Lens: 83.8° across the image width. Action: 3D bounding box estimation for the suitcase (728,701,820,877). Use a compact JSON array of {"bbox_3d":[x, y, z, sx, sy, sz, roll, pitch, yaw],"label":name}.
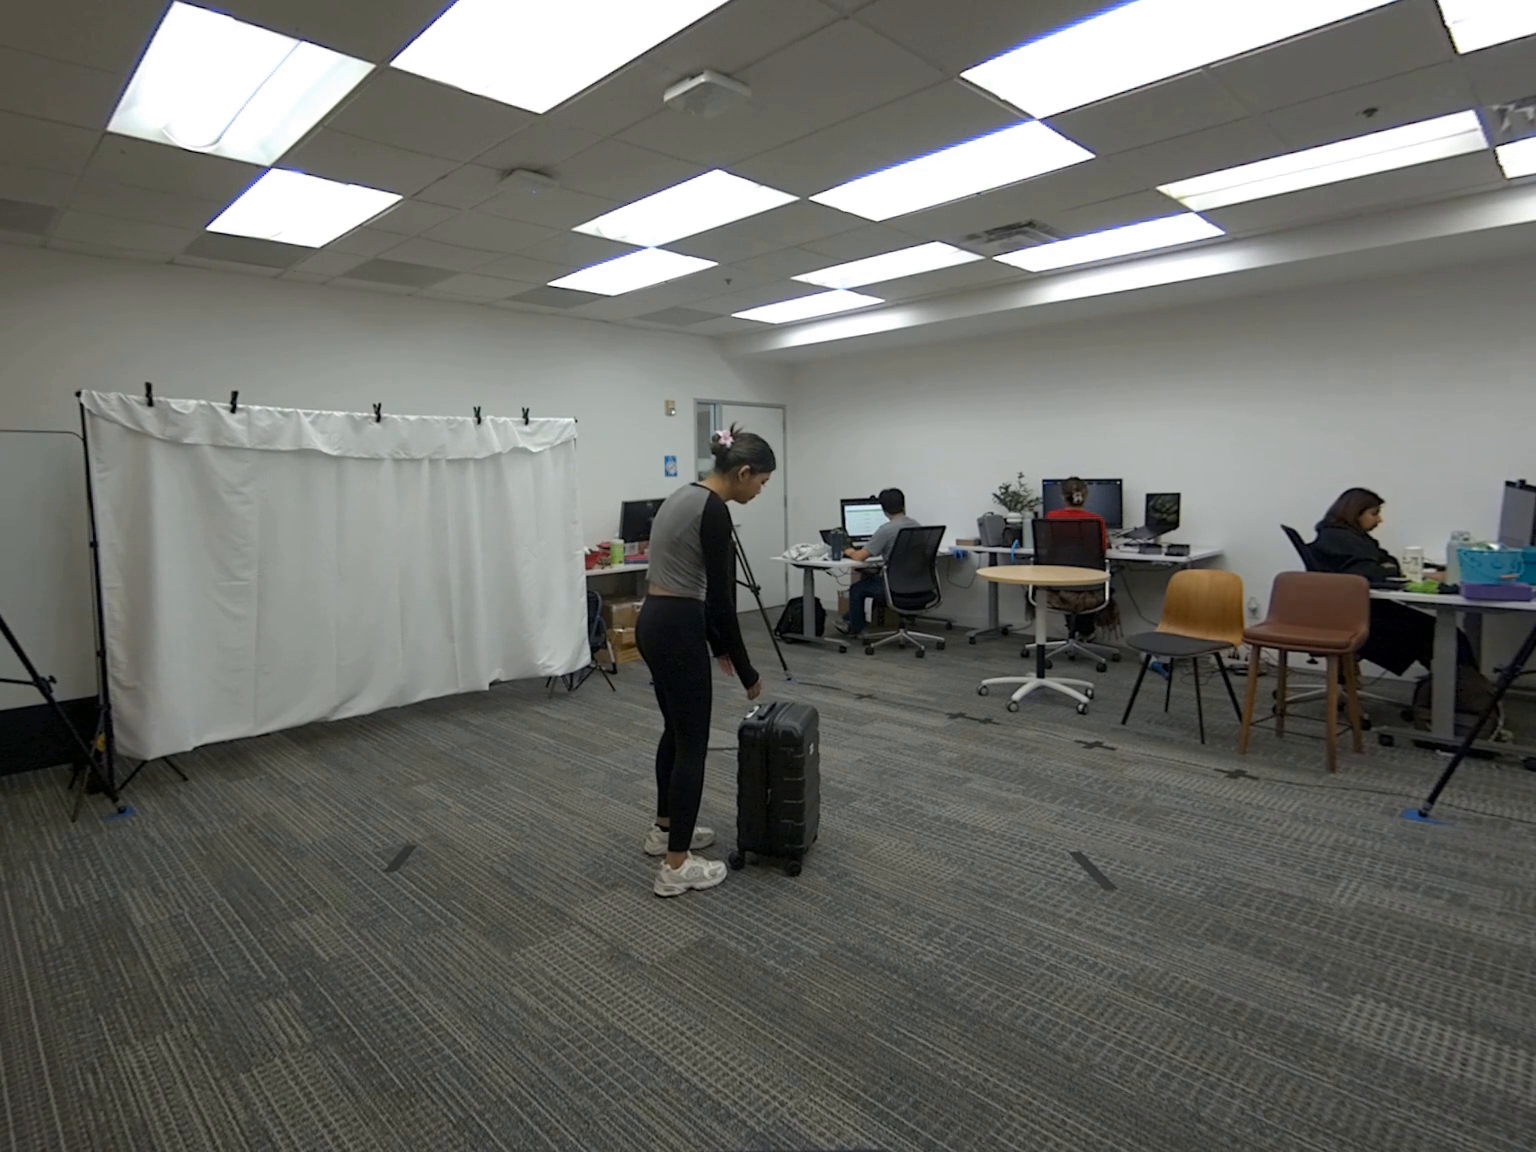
[{"bbox_3d":[0.043,0.755,3.170,0.253,0.547,0.370,2,4,18],"label":"suitcase"}]
